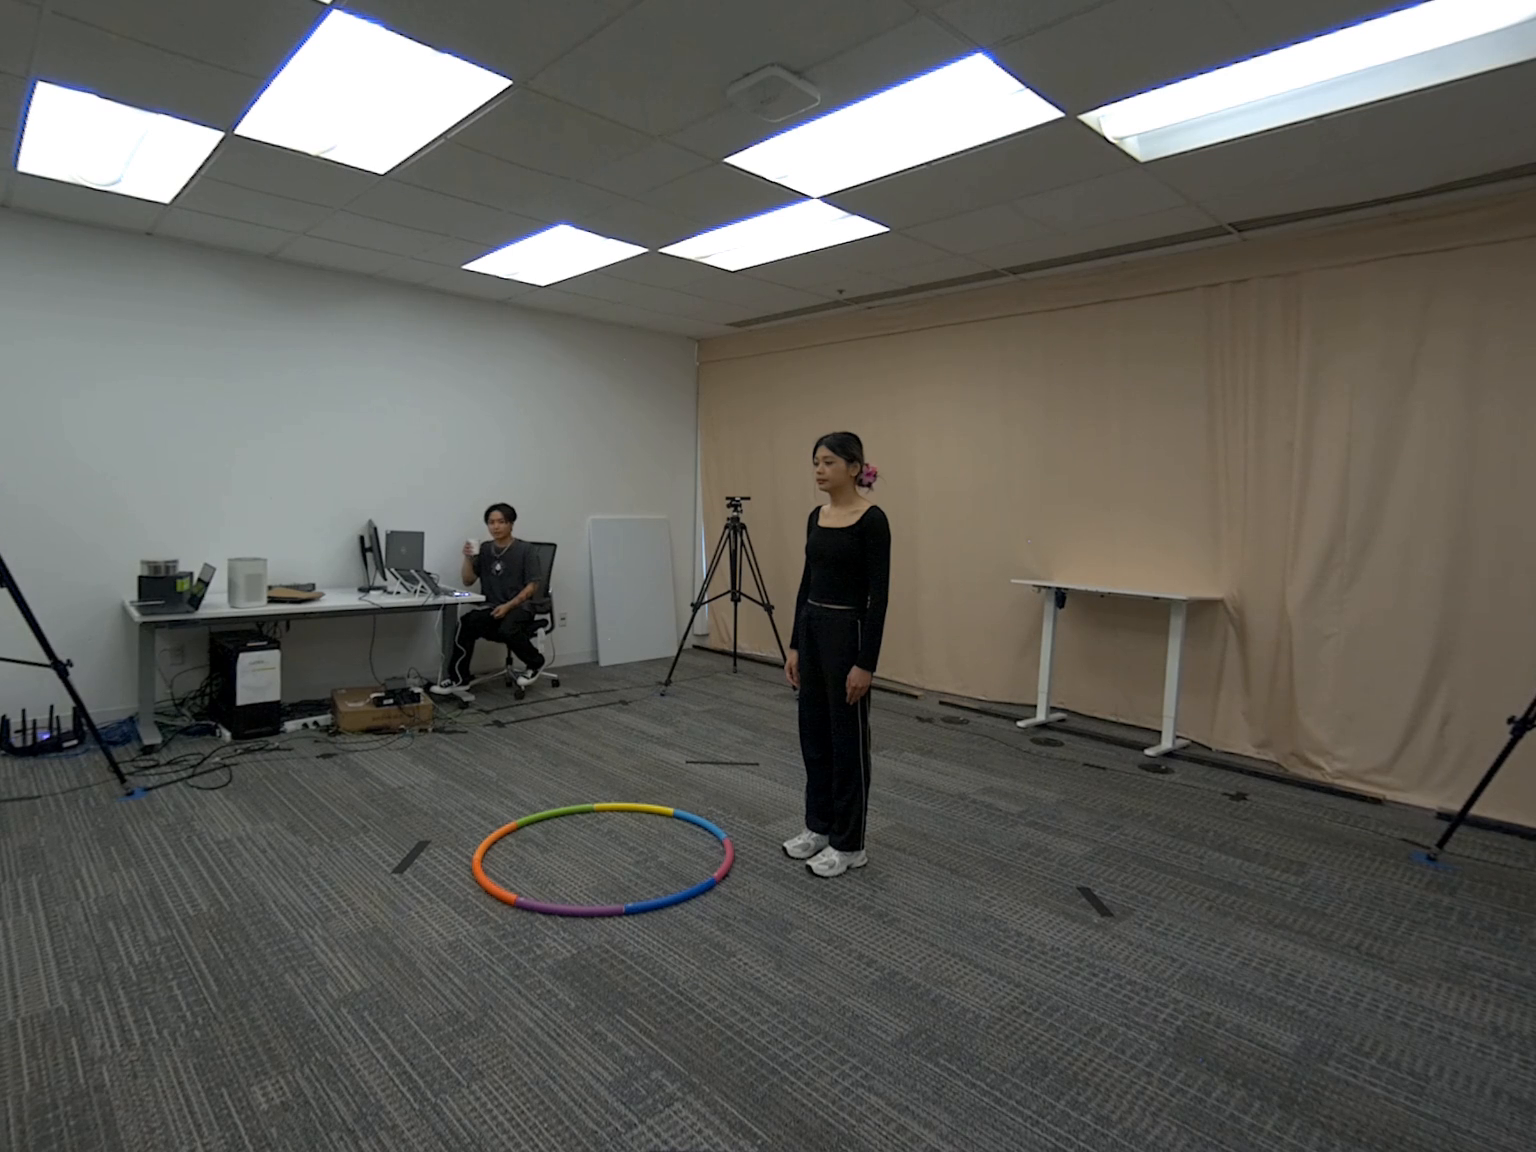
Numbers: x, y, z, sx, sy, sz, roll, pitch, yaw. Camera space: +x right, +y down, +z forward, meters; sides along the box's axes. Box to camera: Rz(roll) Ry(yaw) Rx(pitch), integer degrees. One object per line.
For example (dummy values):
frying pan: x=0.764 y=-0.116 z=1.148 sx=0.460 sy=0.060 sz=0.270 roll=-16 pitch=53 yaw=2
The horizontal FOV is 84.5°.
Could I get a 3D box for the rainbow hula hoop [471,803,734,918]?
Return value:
rainbow hula hoop: x=-0.627 y=1.052 z=3.250 sx=0.978 sy=0.035 sz=0.982 roll=2 pitch=5 yaw=-2
